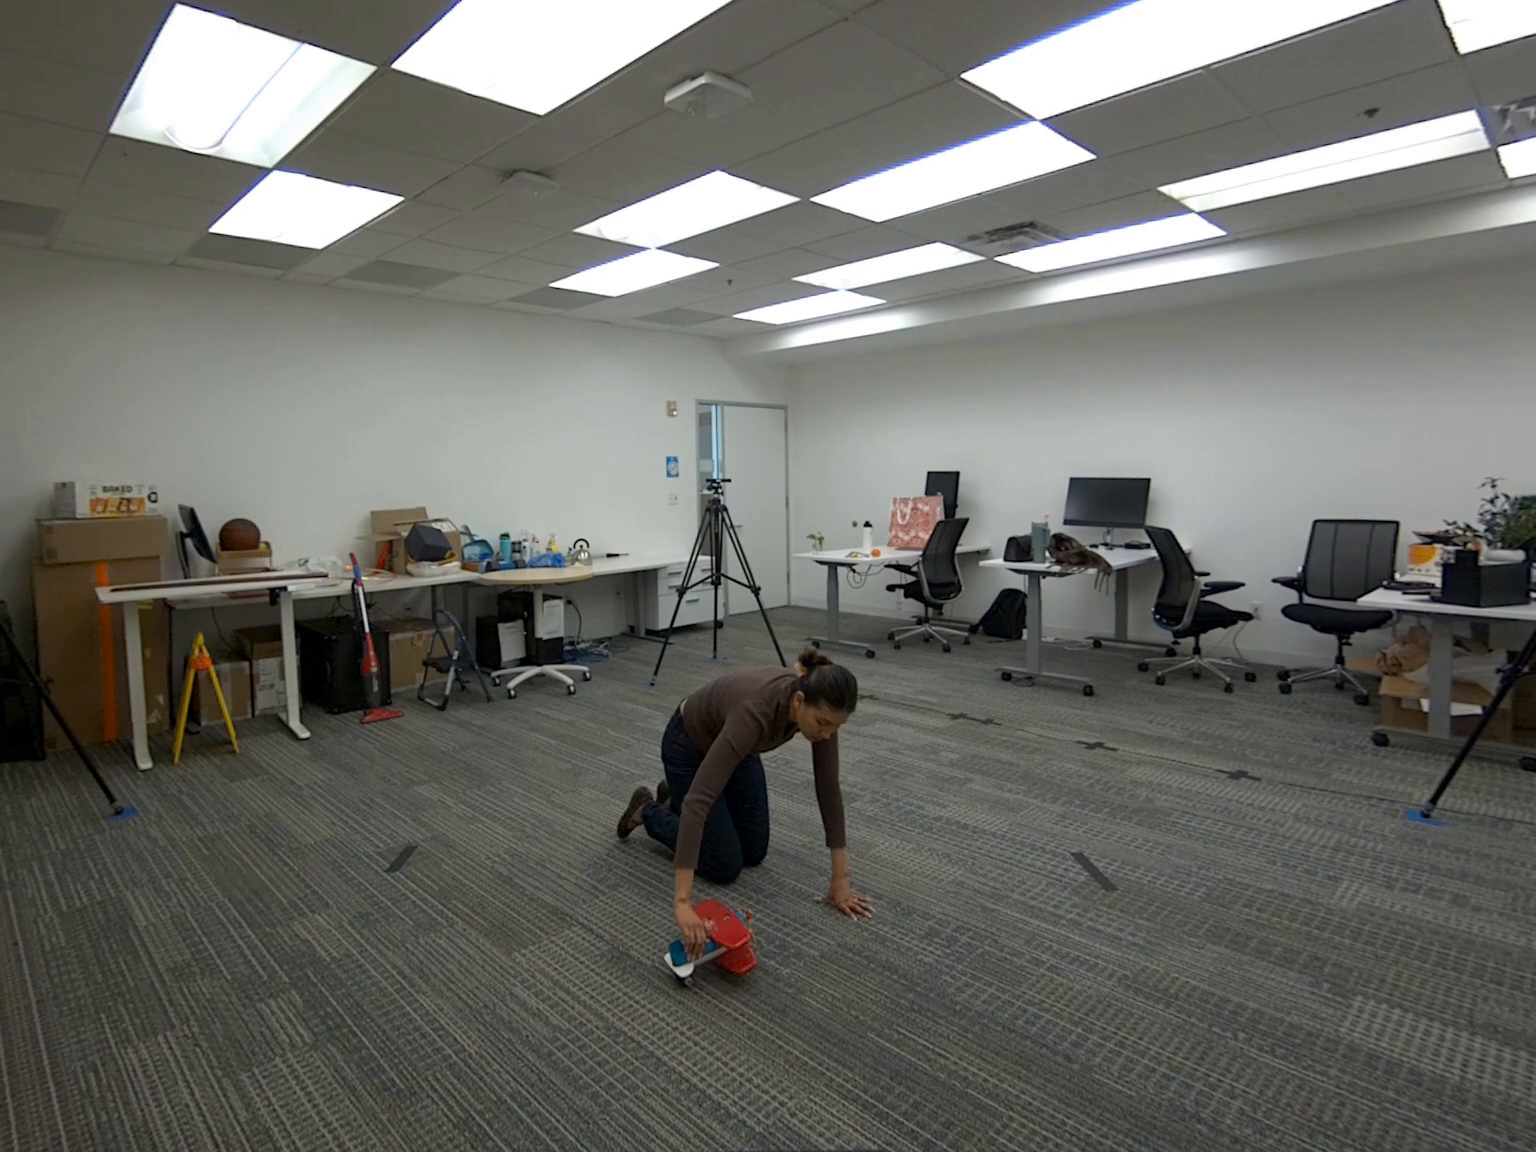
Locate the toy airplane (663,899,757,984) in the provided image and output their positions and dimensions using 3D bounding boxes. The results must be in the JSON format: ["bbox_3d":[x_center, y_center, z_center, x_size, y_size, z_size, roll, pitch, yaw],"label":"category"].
[{"bbox_3d":[-0.140,1.058,2.413,0.258,0.156,0.253,3,6,31],"label":"toy airplane"}]
